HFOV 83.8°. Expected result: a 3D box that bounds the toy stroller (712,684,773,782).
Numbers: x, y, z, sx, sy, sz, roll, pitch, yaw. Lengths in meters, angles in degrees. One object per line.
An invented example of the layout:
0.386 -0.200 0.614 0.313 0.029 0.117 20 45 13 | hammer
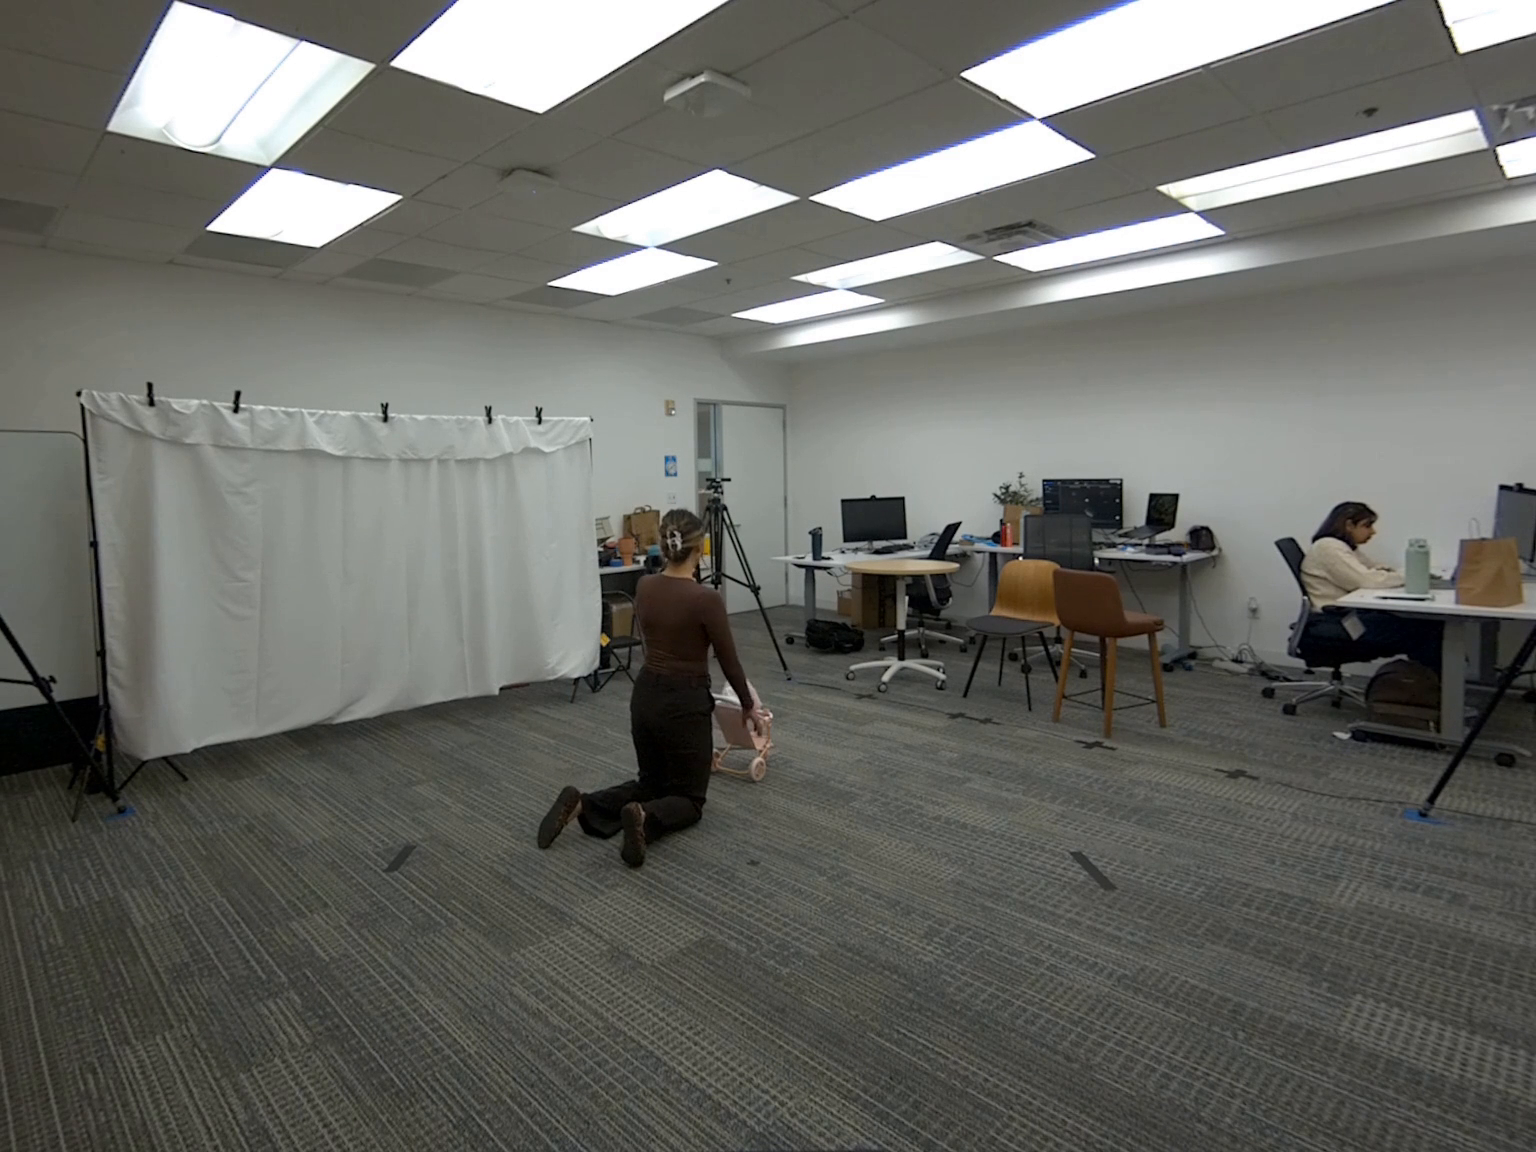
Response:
-0.122 0.715 4.057 0.290 0.525 0.337 3 22 37 | toy stroller
